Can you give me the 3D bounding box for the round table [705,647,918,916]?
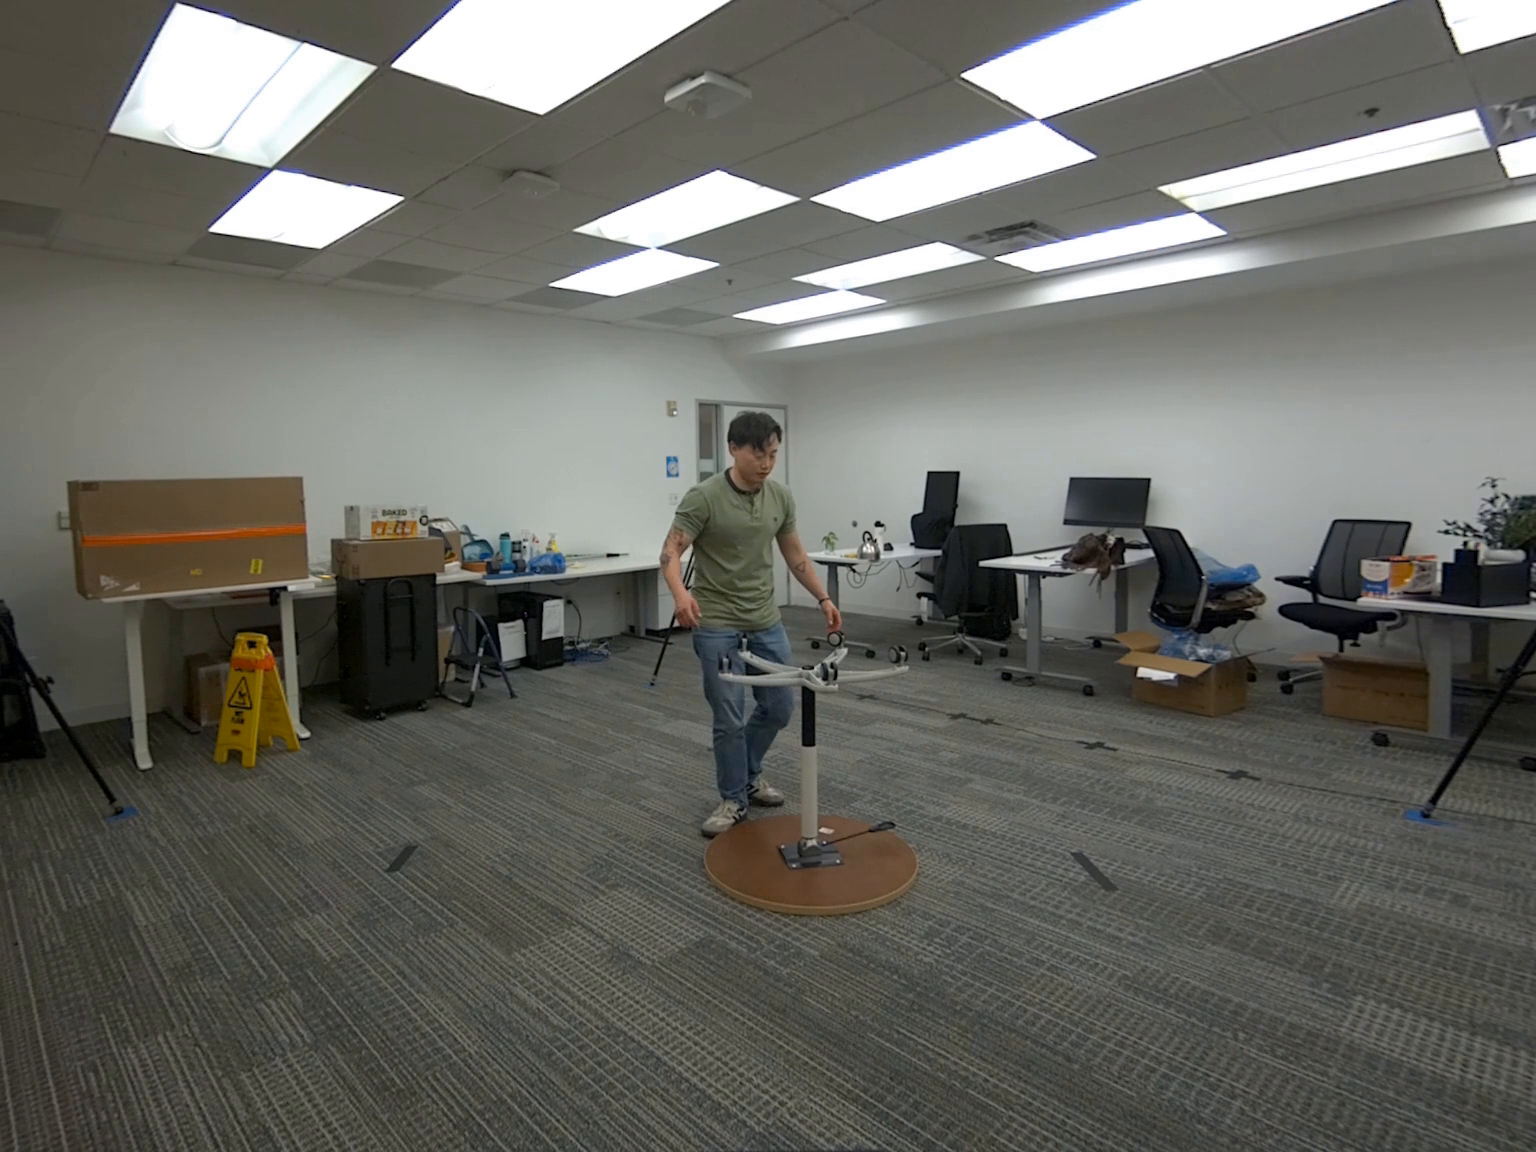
[{"bbox_3d":[0.154,0.649,3.076,0.763,0.791,0.768,-2,5,-2],"label":"round table"}]
